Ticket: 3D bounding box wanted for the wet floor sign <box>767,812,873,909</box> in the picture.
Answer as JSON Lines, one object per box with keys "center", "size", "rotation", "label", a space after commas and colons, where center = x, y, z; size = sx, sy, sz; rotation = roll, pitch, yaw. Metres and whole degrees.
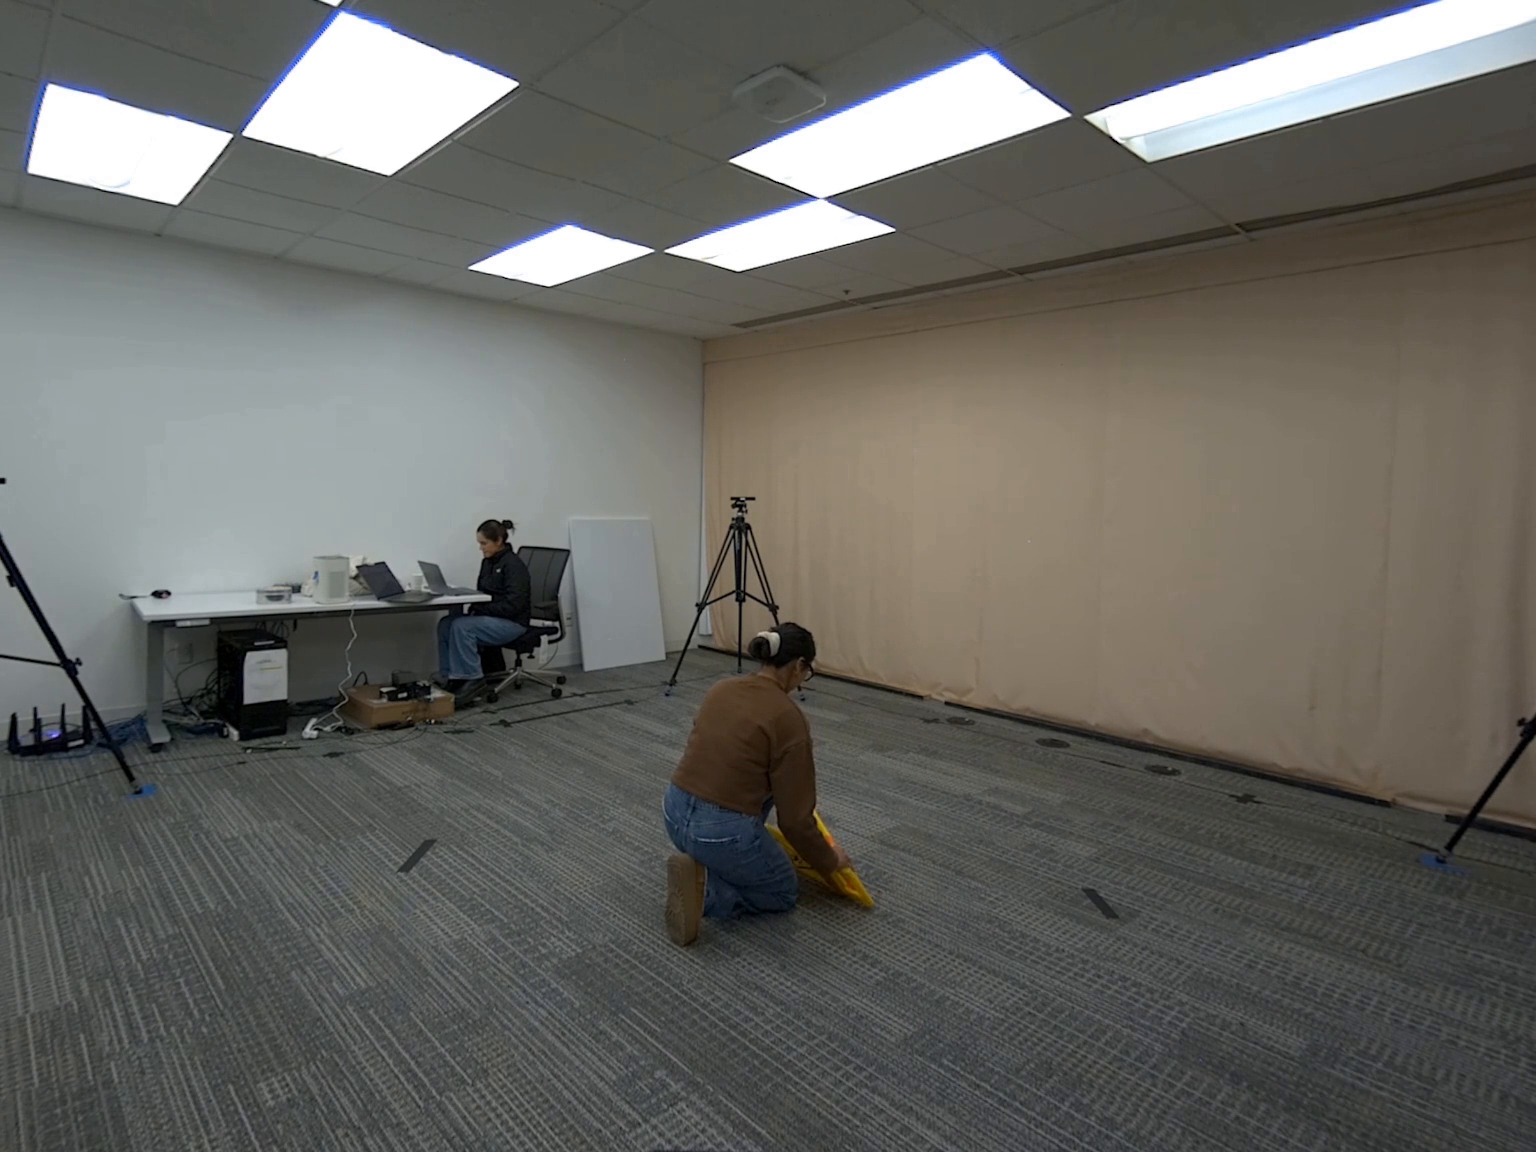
{"center": [0.144, 0.970, 3.094], "size": [0.289, 0.275, 0.664], "rotation": [-40, 30, -15], "label": "wet floor sign"}
